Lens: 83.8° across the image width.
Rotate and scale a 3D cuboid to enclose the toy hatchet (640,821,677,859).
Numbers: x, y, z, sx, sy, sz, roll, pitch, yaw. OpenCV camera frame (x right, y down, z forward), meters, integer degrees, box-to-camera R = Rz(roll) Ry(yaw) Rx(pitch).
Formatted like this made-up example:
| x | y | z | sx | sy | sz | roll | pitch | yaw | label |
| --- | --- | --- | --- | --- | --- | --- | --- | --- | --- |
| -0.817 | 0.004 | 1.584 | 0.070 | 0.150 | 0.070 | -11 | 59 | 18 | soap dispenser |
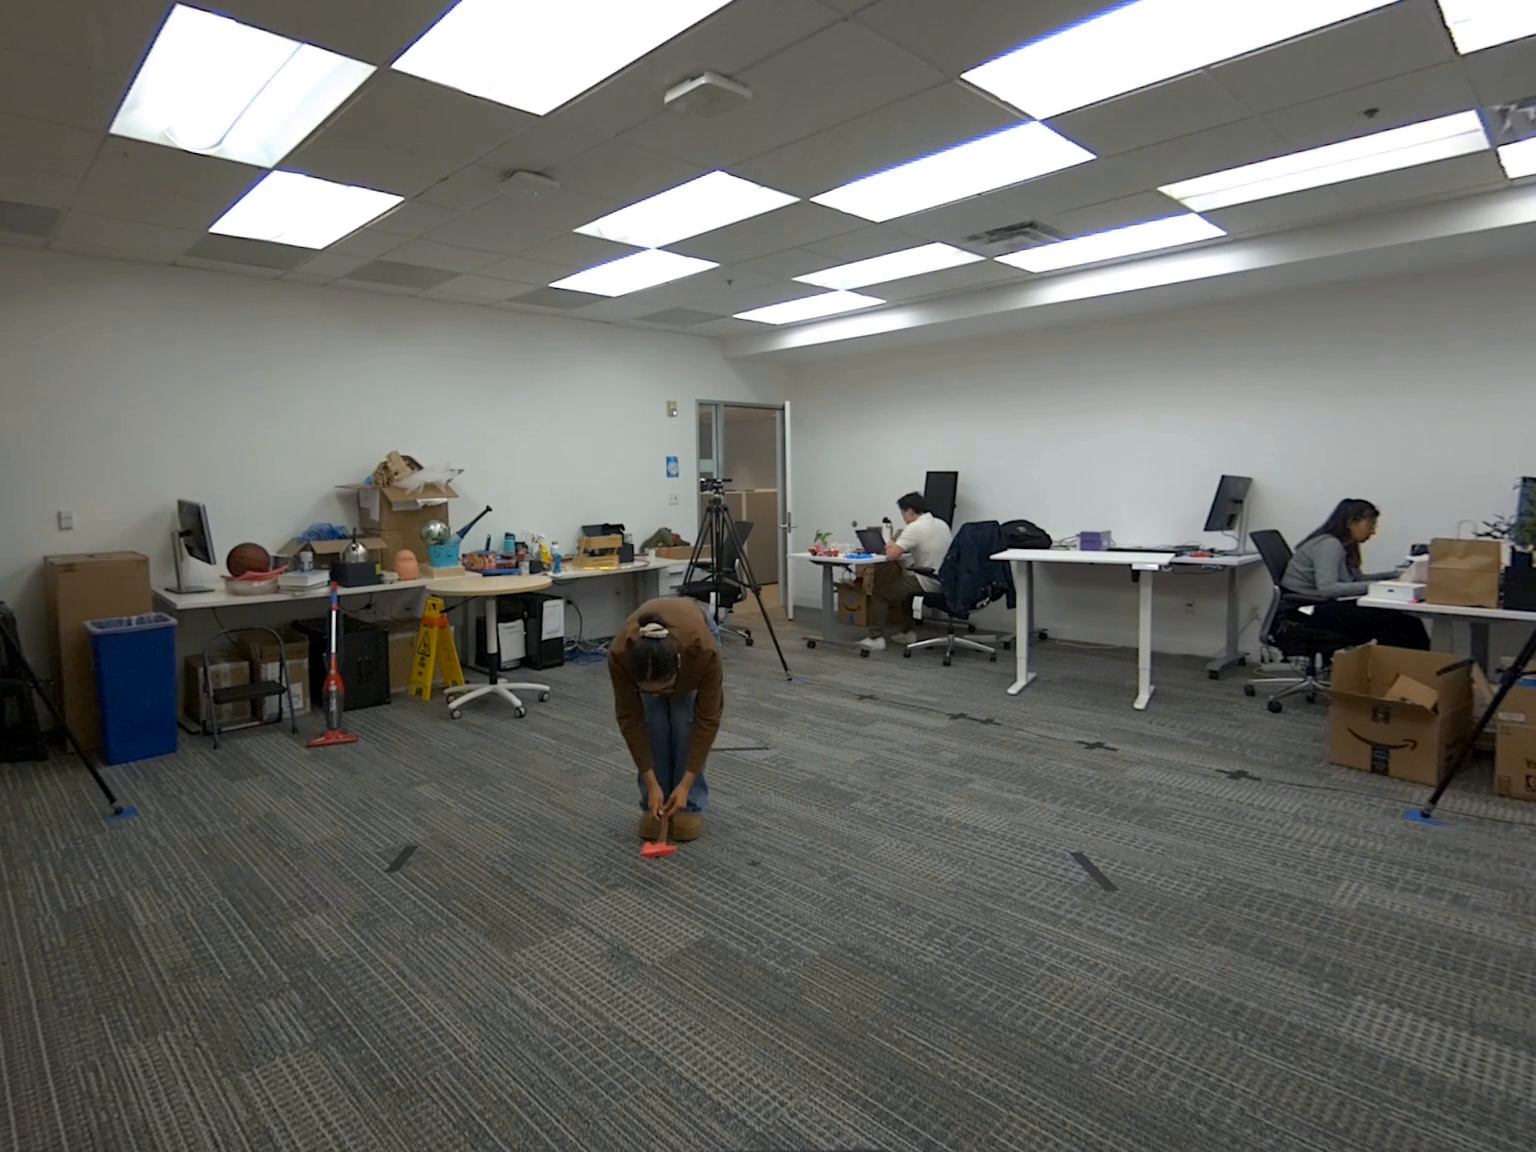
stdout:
| x | y | z | sx | sy | sz | roll | pitch | yaw | label |
| --- | --- | --- | --- | --- | --- | --- | --- | --- | --- |
| -0.406 | 0.927 | 3.039 | 0.130 | 0.029 | 0.276 | -20 | 18 | -10 | toy hatchet |
